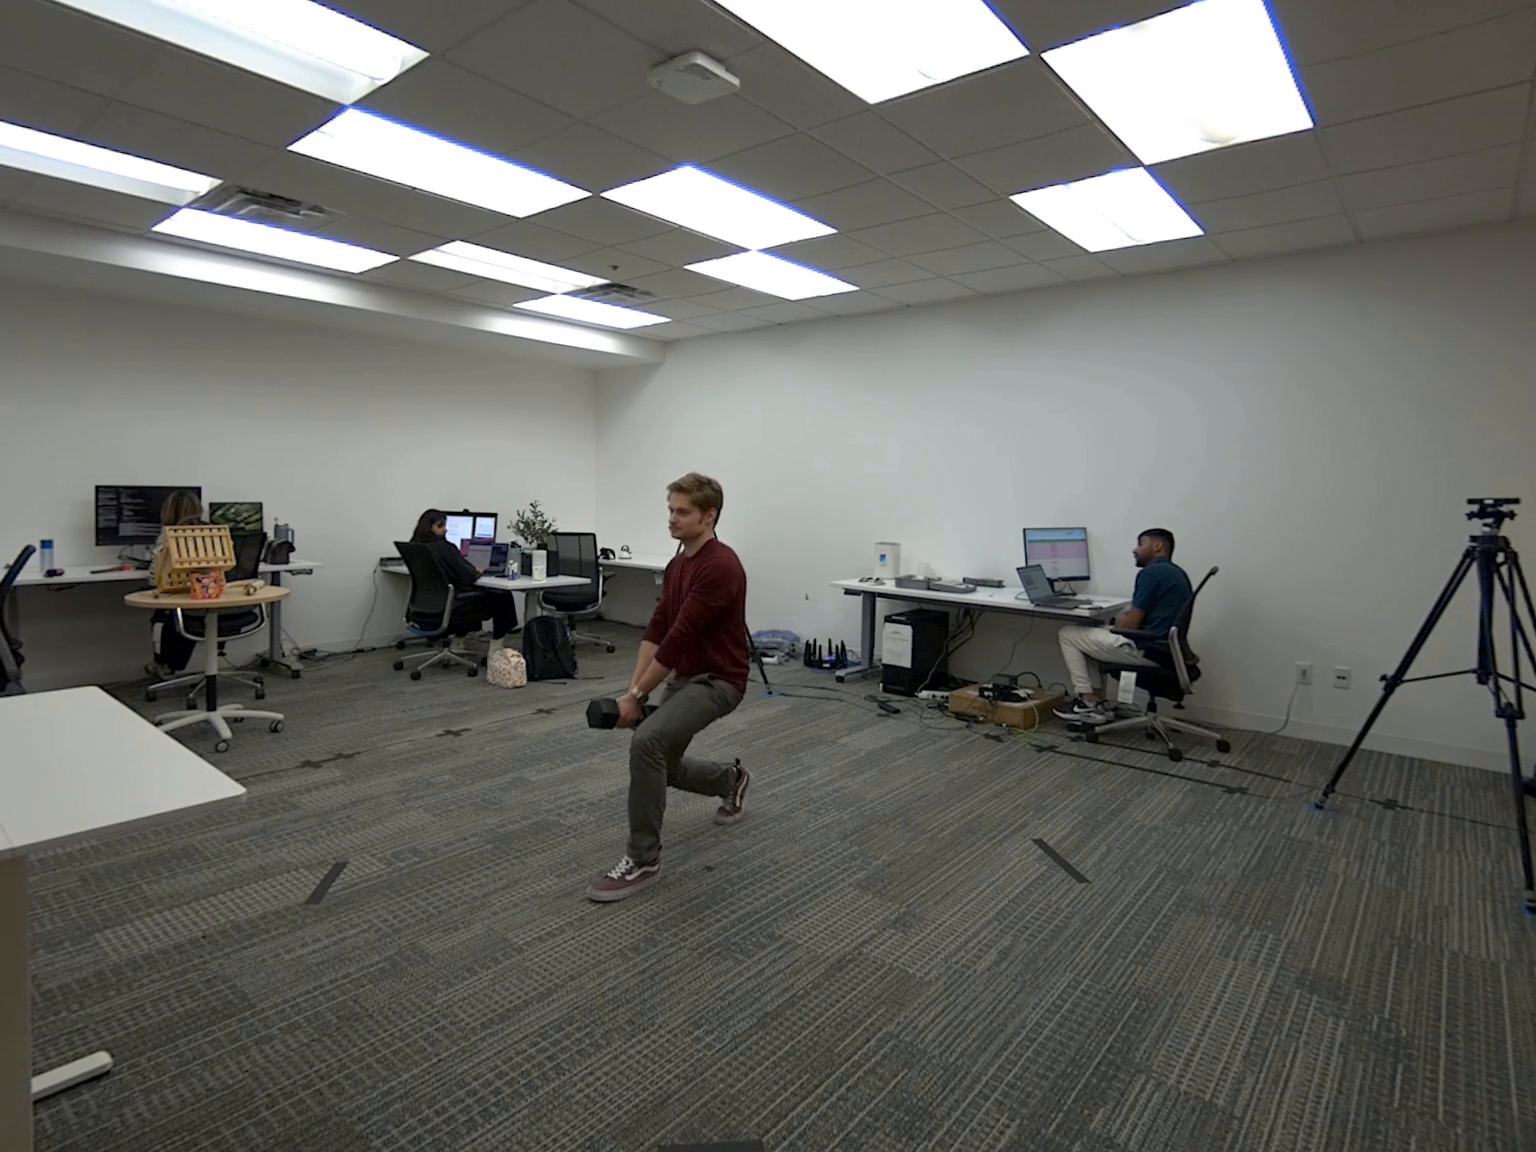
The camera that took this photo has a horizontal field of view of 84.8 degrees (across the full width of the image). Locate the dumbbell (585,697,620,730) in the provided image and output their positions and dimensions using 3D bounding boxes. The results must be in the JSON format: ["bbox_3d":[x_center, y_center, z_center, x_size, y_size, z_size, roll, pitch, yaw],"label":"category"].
[{"bbox_3d":[-0.531,0.510,3.137,0.282,0.127,0.109,18,-51,-43],"label":"dumbbell"}]
